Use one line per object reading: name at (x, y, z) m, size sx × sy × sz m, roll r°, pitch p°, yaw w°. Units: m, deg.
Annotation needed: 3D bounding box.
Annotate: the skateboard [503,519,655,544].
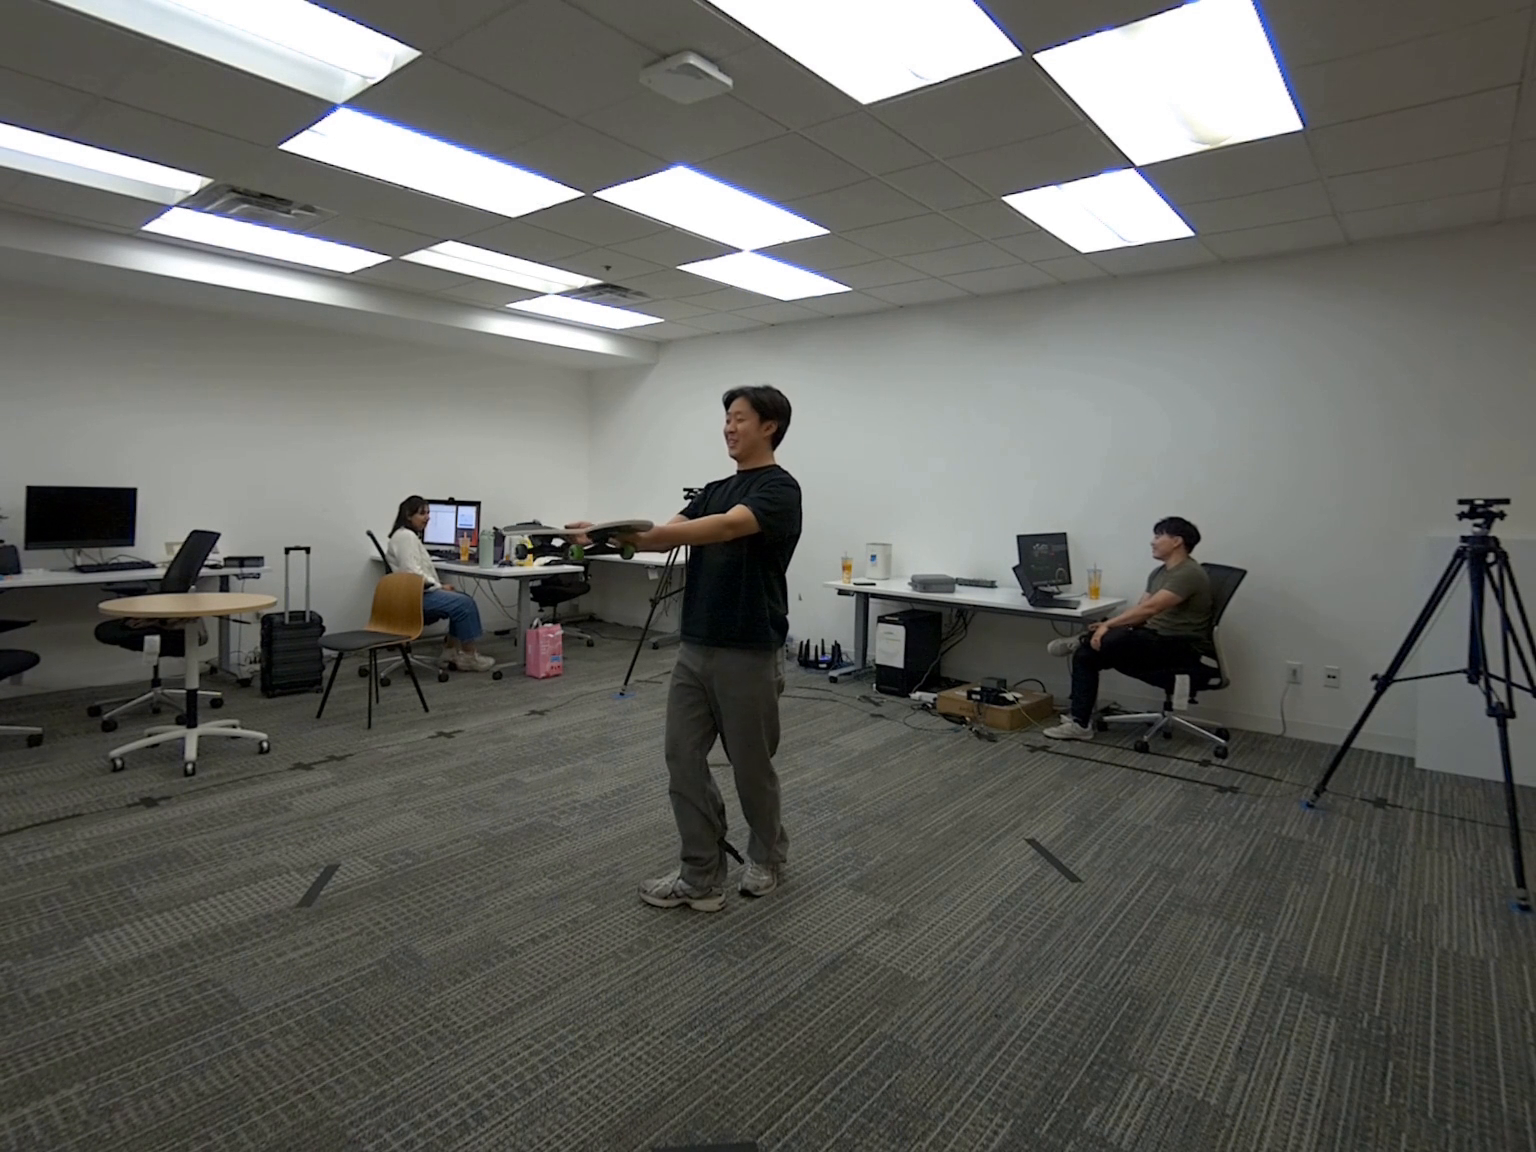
skateboard at (-0.589, -0.105, 2.500) m, size 0.188 × 0.110 × 0.810 m, roll -2°, pitch 3°, yaw -38°
